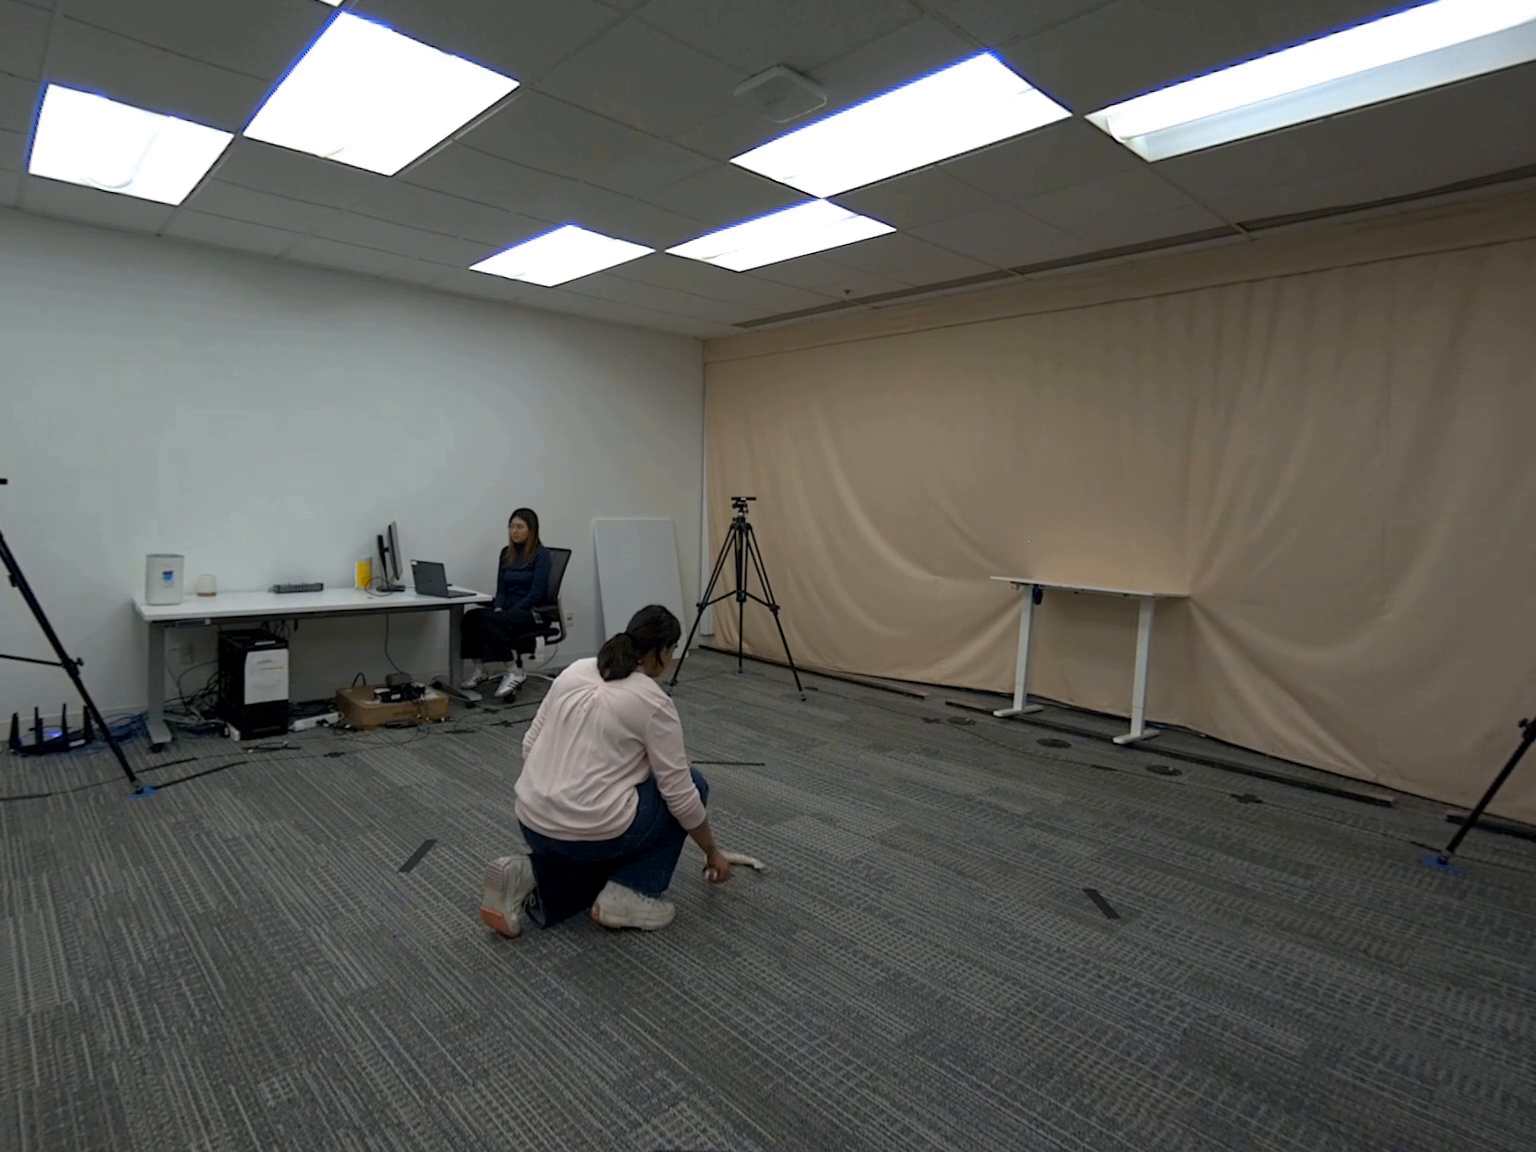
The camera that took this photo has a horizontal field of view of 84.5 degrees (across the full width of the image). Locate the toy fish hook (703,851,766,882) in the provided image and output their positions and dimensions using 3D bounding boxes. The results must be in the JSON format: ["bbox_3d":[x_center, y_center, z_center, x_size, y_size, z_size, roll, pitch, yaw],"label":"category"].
[{"bbox_3d":[-0.131,1.040,3.000,0.225,0.048,0.501,3,-8,3],"label":"toy fish hook"}]
